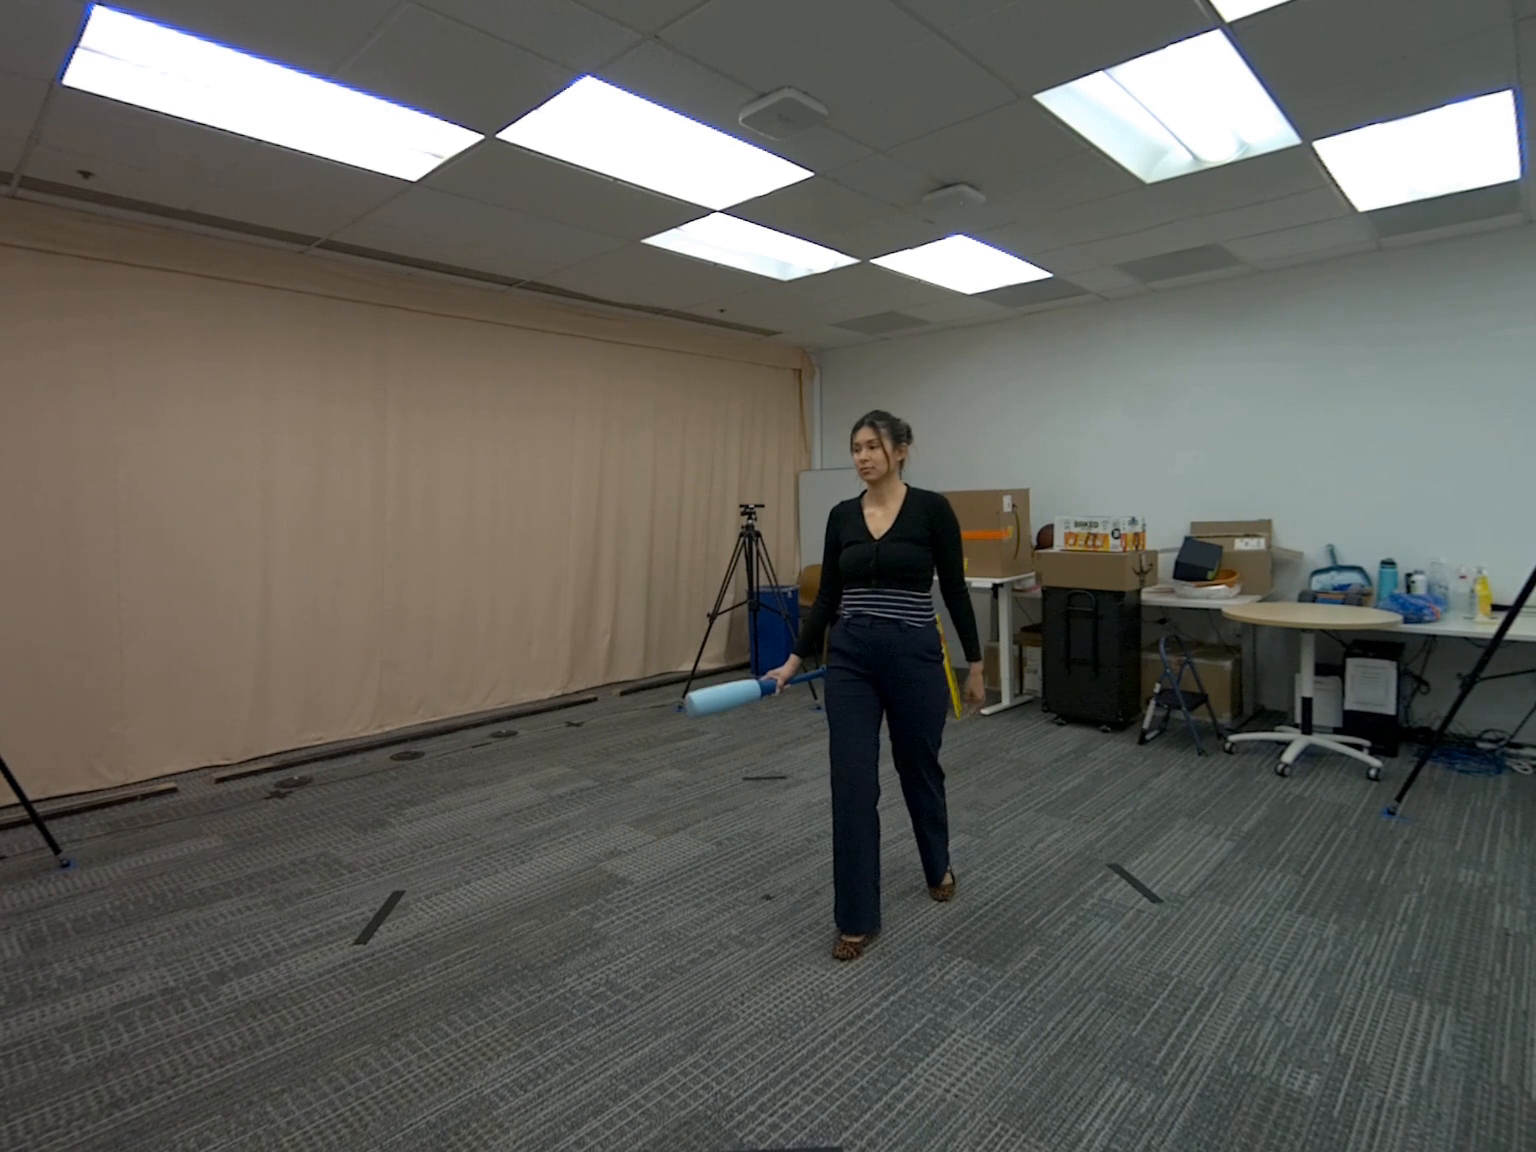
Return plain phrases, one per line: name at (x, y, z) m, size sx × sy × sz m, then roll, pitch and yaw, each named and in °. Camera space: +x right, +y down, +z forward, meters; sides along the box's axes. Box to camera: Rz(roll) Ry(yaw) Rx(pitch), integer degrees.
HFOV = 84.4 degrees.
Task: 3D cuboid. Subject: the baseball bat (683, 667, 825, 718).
baseball bat at (-0.008, 0.354, 2.798) m, size 0.532 × 0.089 × 0.091 m, roll -9°, pitch 7°, yaw -23°
